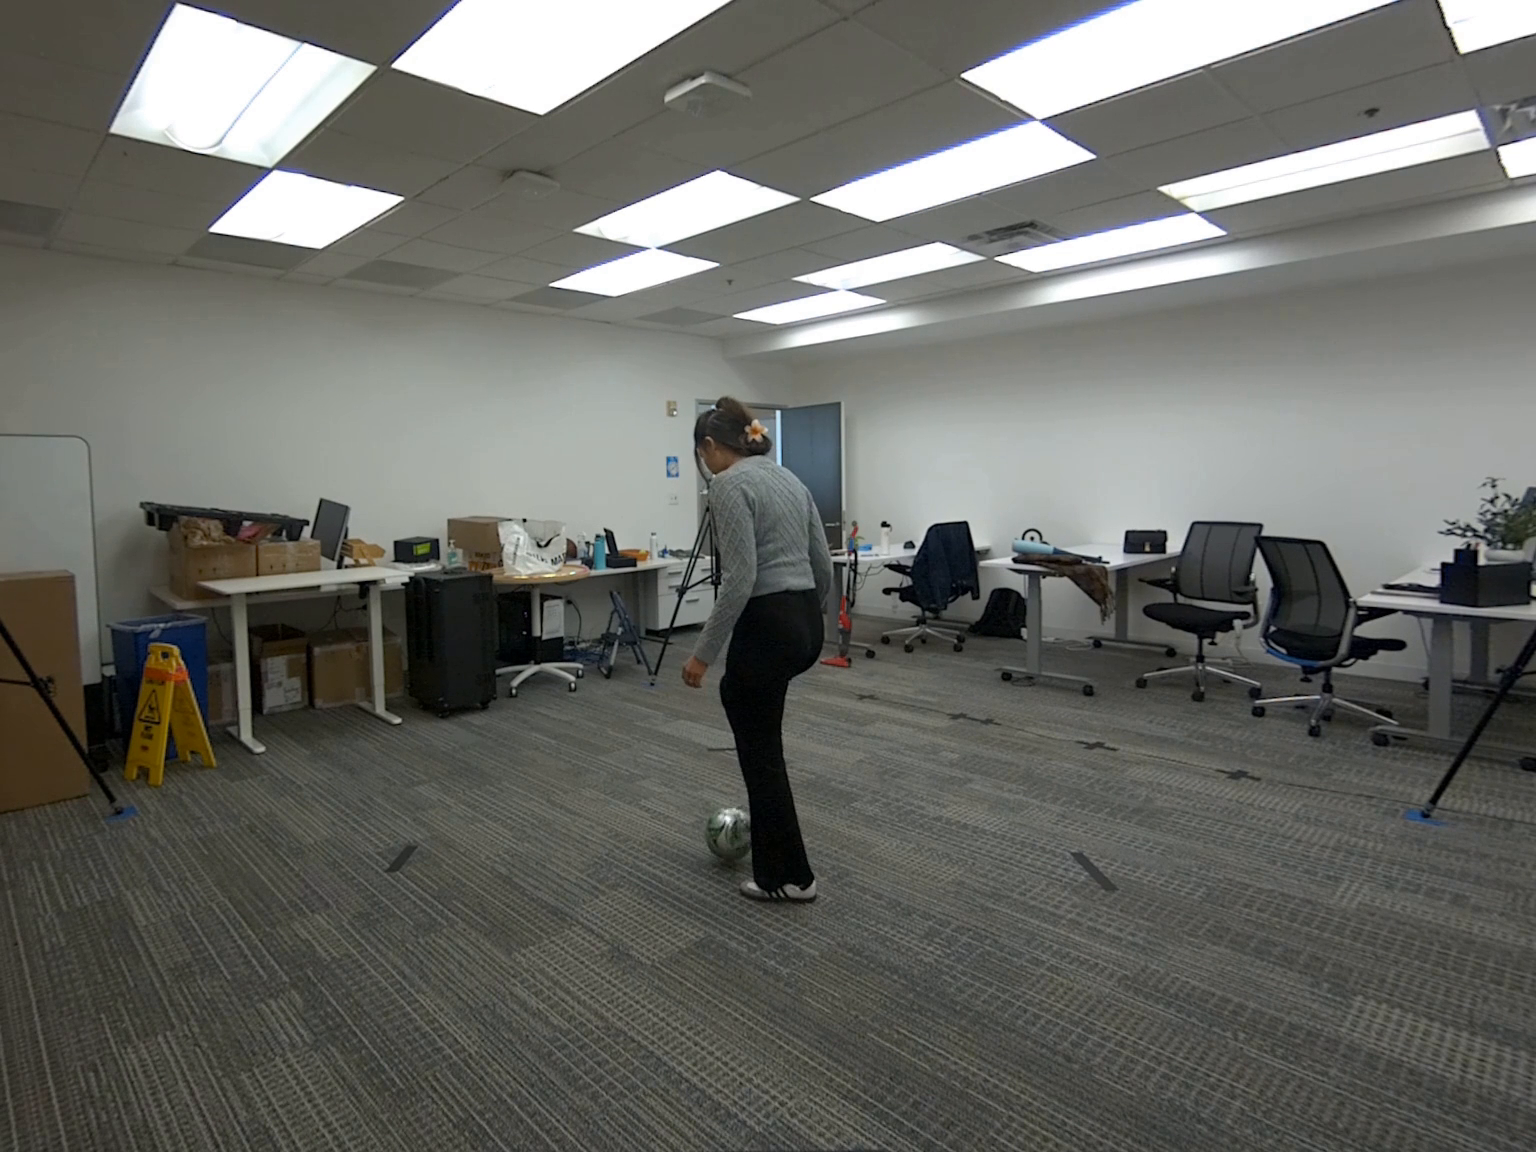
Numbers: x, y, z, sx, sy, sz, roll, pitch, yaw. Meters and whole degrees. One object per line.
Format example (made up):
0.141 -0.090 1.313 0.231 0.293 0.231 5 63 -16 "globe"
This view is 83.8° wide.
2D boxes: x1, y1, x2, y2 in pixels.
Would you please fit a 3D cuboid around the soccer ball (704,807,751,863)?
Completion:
-0.151 0.940 3.108 0.187 0.187 0.188 -1 5 -2 "soccer ball"
